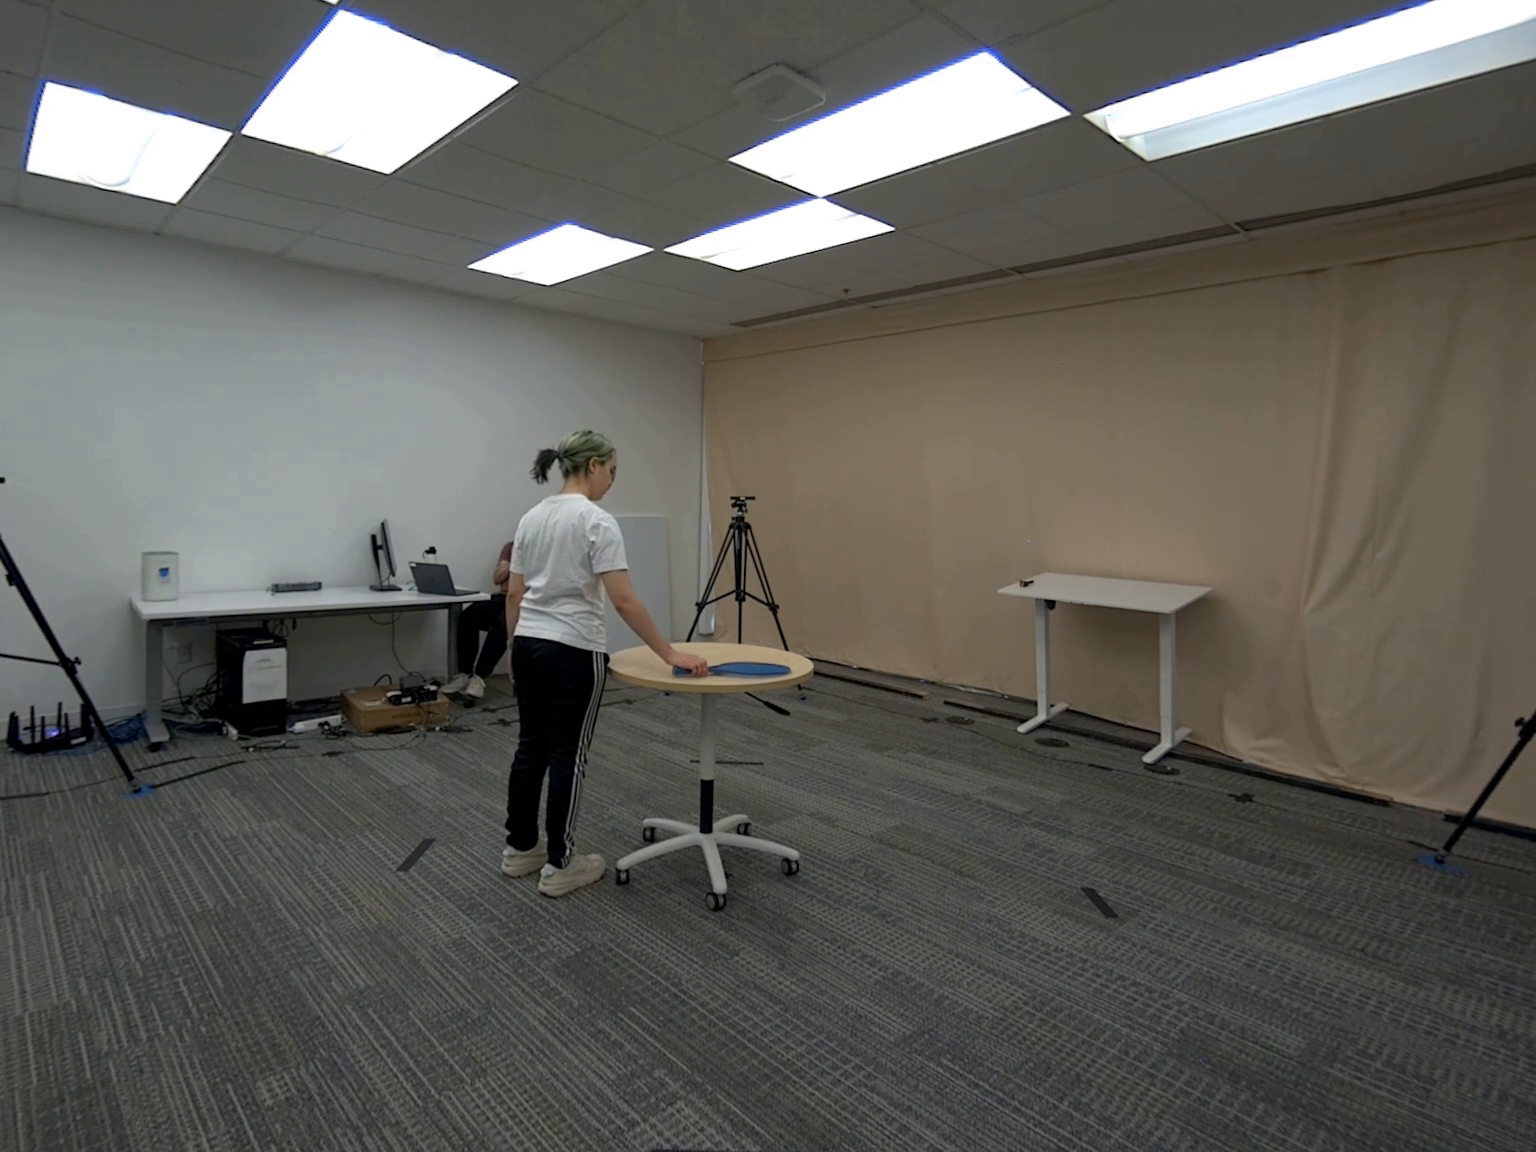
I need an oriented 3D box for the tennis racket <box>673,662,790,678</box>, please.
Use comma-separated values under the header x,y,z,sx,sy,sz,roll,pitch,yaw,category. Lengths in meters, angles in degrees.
x,y,z,sx,sy,sz,roll,pitch,yaw,category
-0.133,0.323,2.925,0.425,0.032,0.218,2,4,-23,tennis racket
